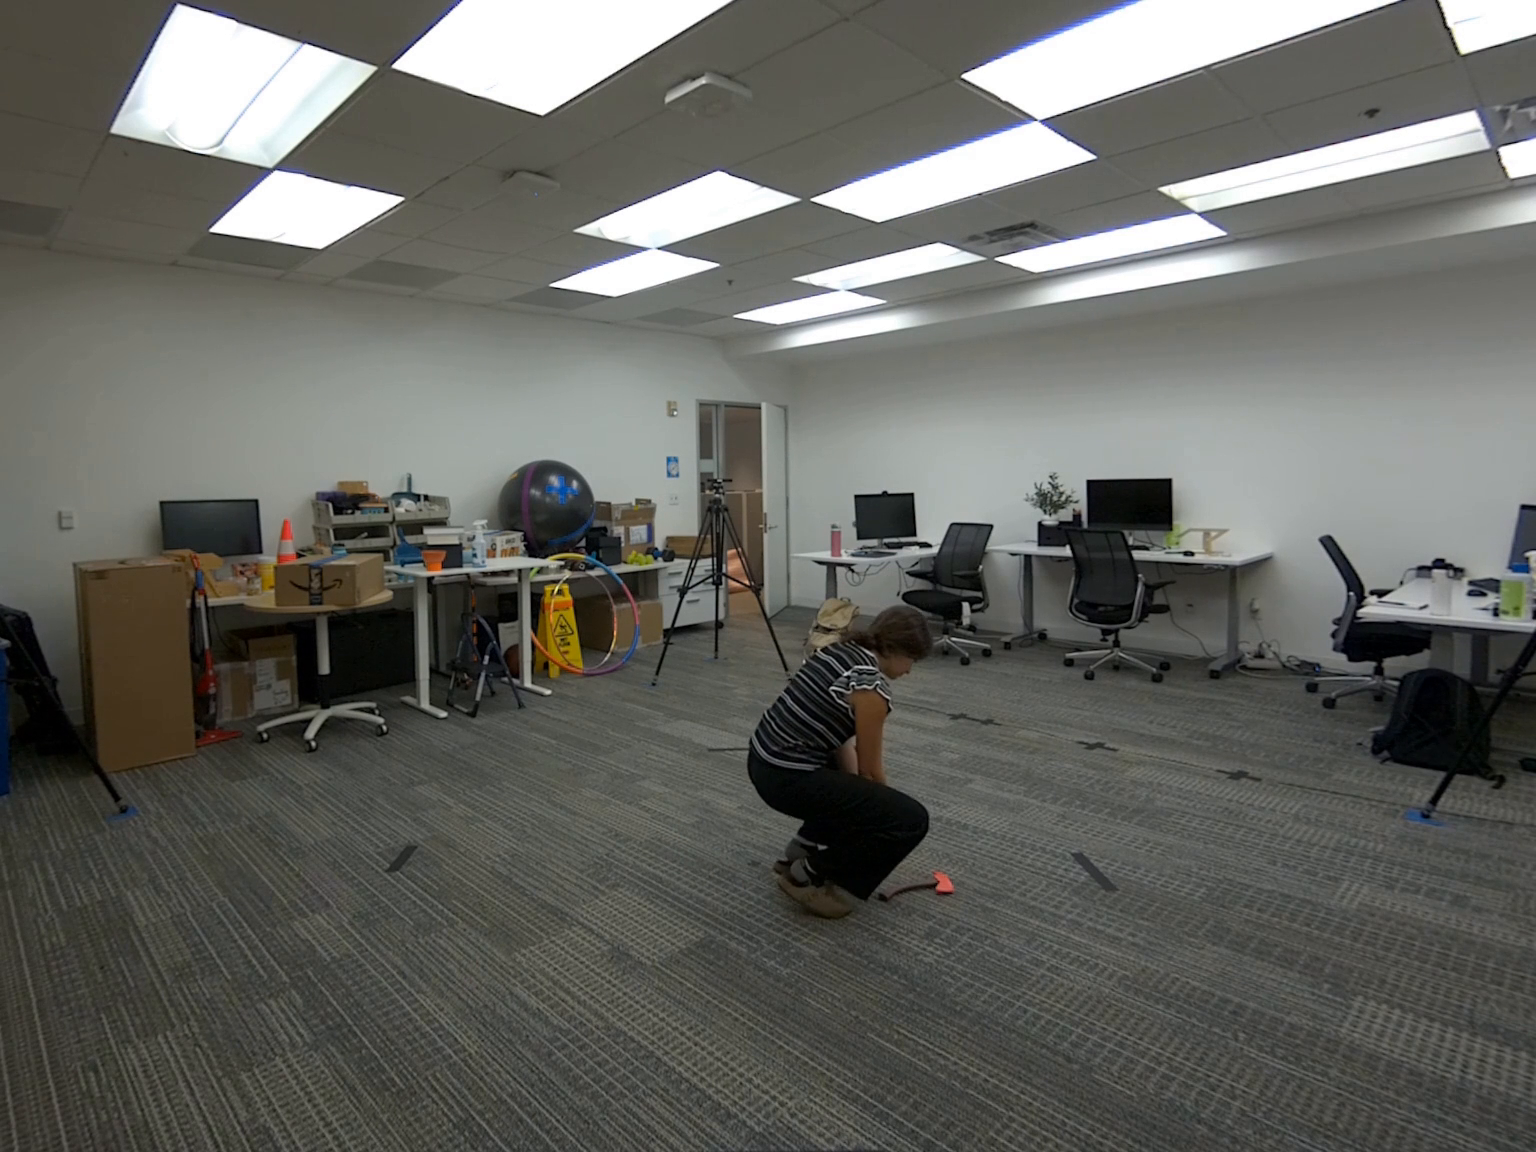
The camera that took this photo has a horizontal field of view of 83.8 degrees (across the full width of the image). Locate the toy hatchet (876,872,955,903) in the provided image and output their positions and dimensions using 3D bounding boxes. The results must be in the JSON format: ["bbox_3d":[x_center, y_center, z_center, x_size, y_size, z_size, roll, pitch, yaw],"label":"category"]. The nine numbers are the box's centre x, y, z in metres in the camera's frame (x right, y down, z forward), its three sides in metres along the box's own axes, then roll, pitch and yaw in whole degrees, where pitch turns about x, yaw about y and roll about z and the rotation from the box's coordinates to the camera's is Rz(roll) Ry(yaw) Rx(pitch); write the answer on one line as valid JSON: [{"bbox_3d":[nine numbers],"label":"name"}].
[{"bbox_3d":[0.506,1.043,2.855,0.264,0.029,0.135,-9,11,-33],"label":"toy hatchet"}]
